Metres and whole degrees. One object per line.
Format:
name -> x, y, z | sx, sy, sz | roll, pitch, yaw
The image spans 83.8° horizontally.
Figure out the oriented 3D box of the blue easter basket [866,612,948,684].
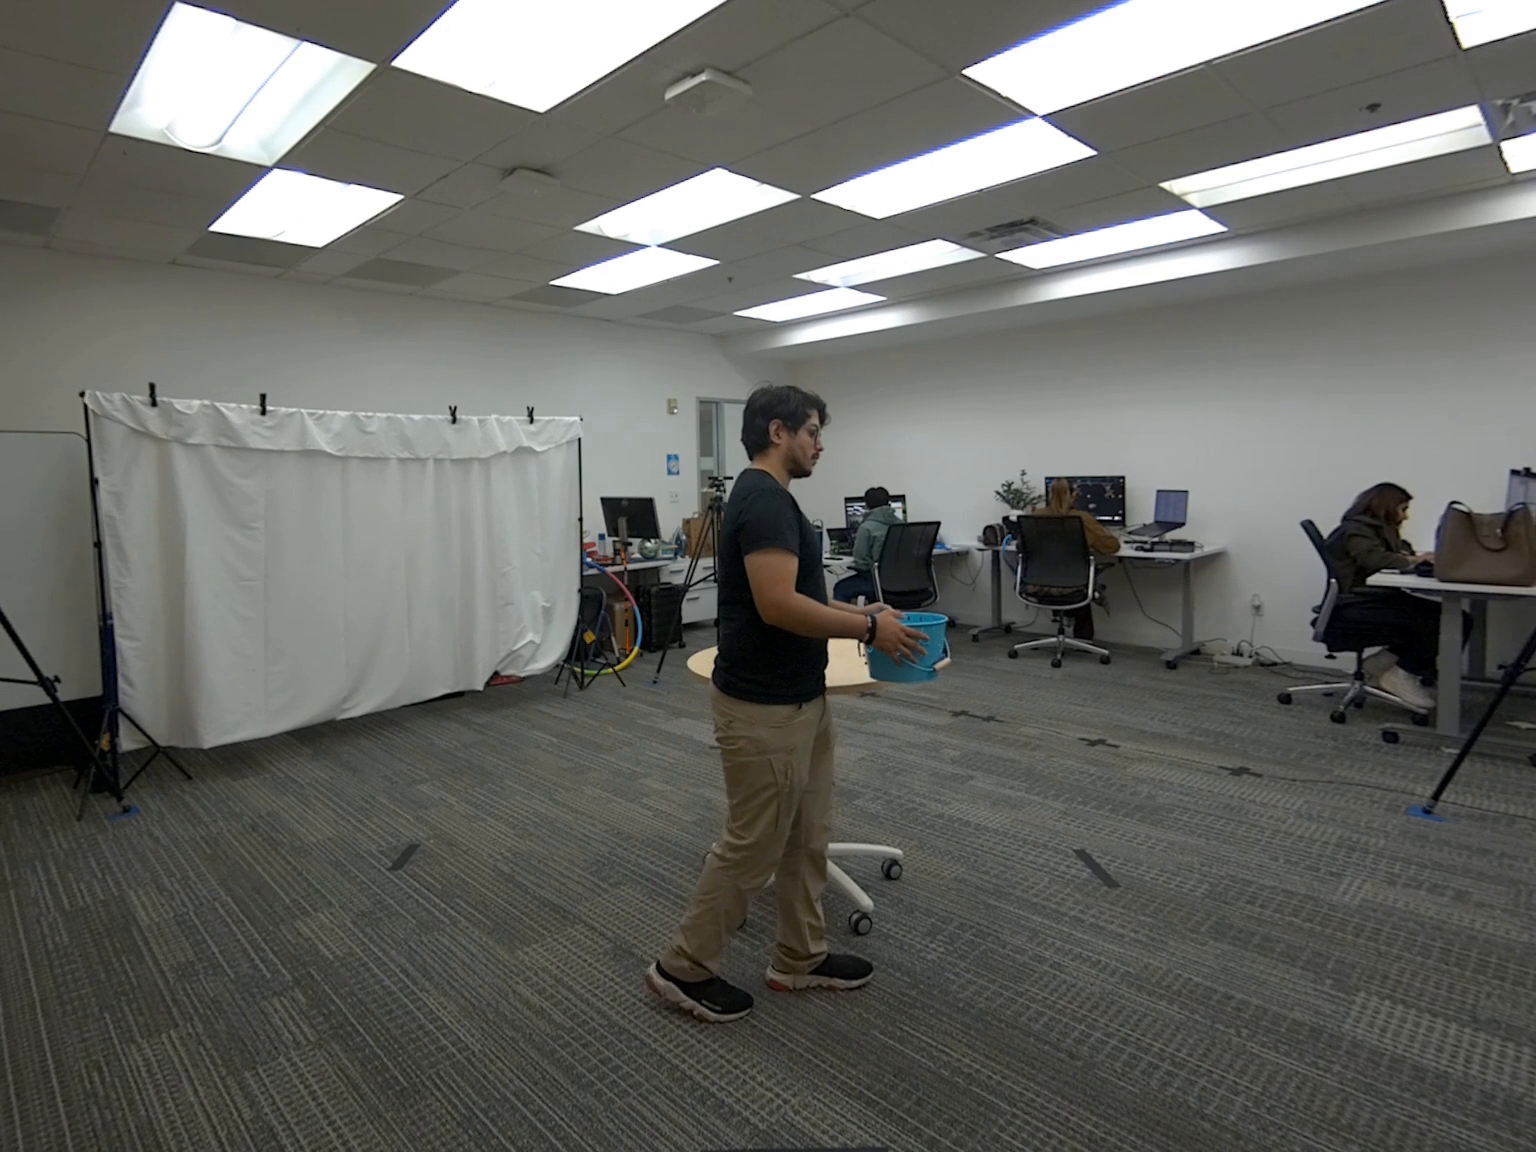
blue easter basket -> 0.356, 0.191, 2.225 | 0.243, 0.155, 0.245 | -4, 5, -1
